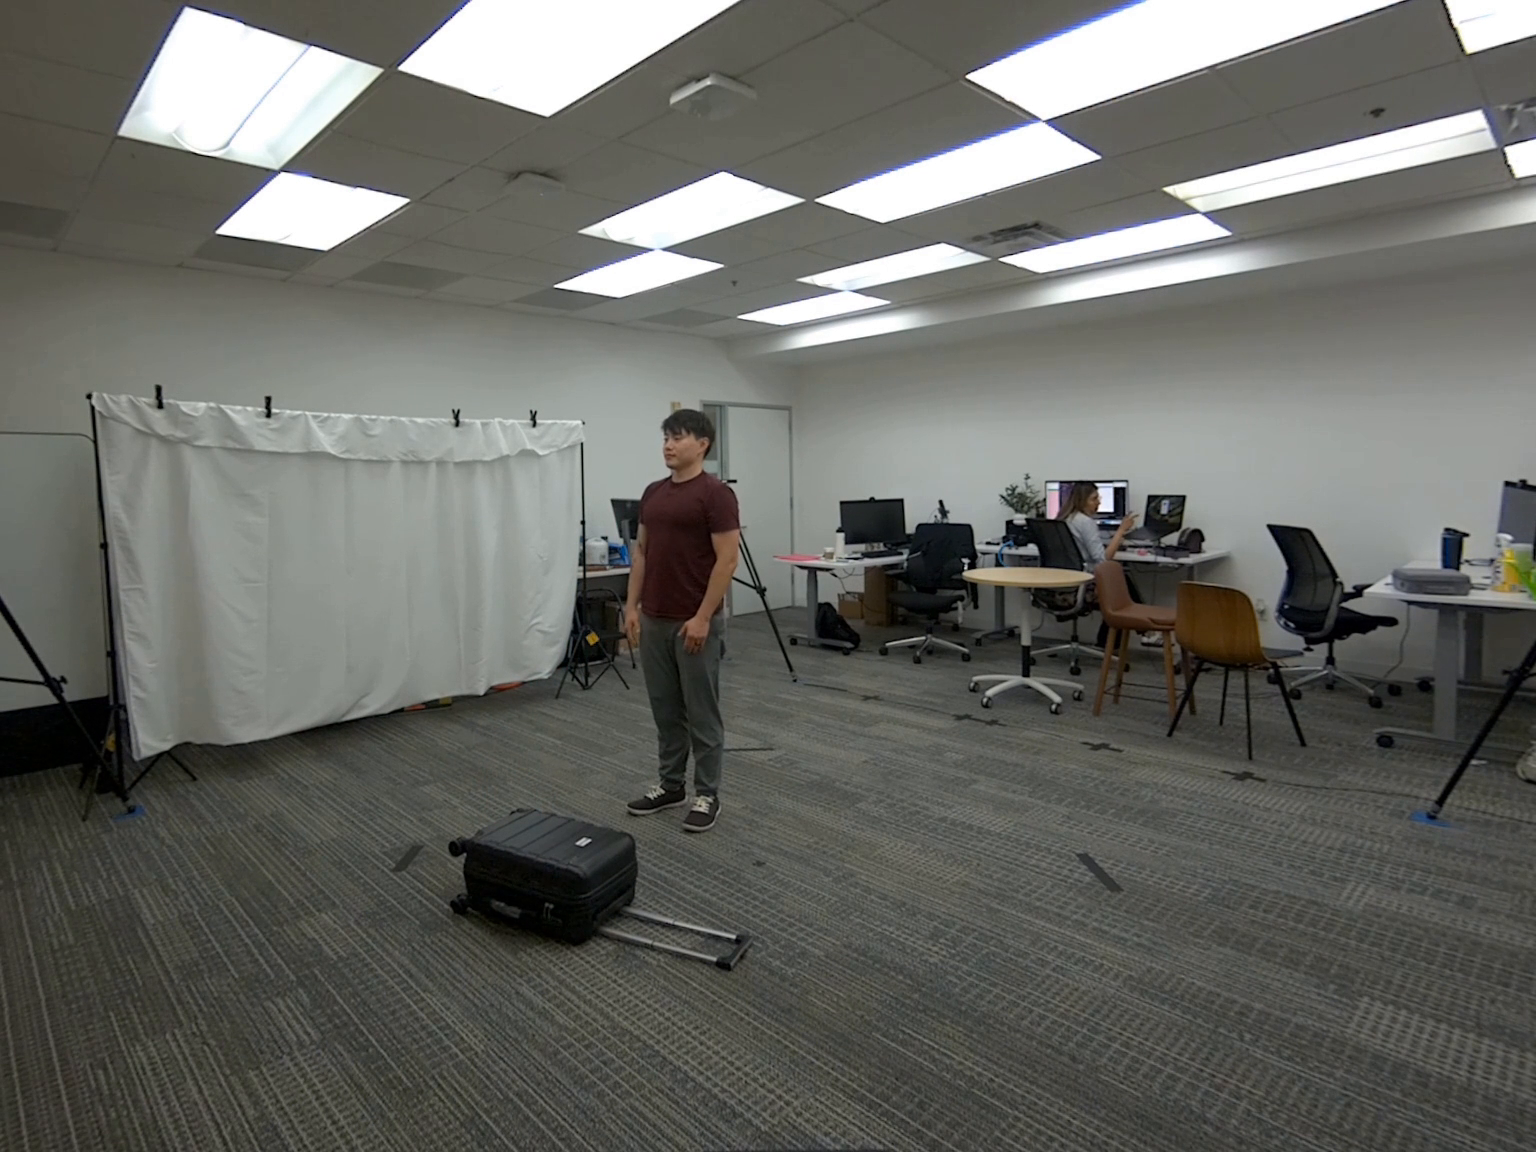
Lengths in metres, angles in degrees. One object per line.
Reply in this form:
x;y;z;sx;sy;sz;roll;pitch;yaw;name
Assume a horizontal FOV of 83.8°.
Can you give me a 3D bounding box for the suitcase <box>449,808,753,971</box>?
-0.528;0.974;2.712;1.002;0.256;0.376;2;4;26;suitcase
